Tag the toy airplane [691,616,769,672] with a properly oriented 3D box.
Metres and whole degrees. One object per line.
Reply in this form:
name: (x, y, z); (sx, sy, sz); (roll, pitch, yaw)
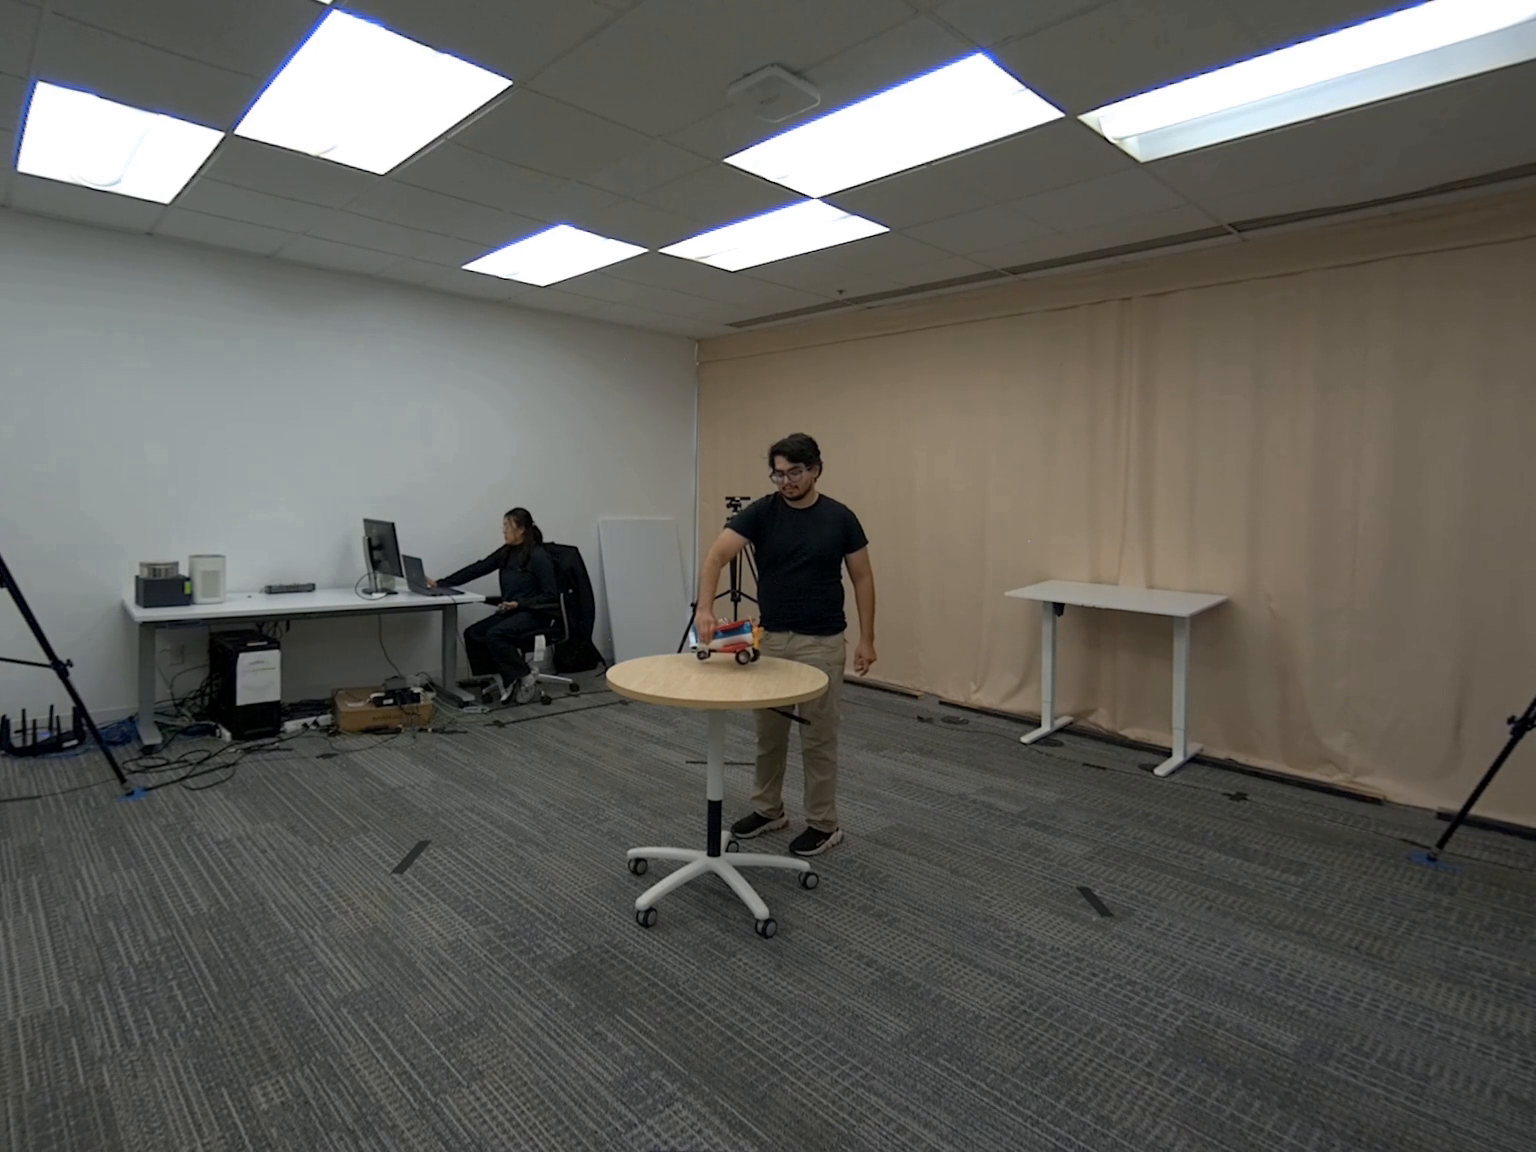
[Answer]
toy airplane: (-0.143, 0.238, 3.030); (0.258, 0.156, 0.252); (2, 2, -5)
